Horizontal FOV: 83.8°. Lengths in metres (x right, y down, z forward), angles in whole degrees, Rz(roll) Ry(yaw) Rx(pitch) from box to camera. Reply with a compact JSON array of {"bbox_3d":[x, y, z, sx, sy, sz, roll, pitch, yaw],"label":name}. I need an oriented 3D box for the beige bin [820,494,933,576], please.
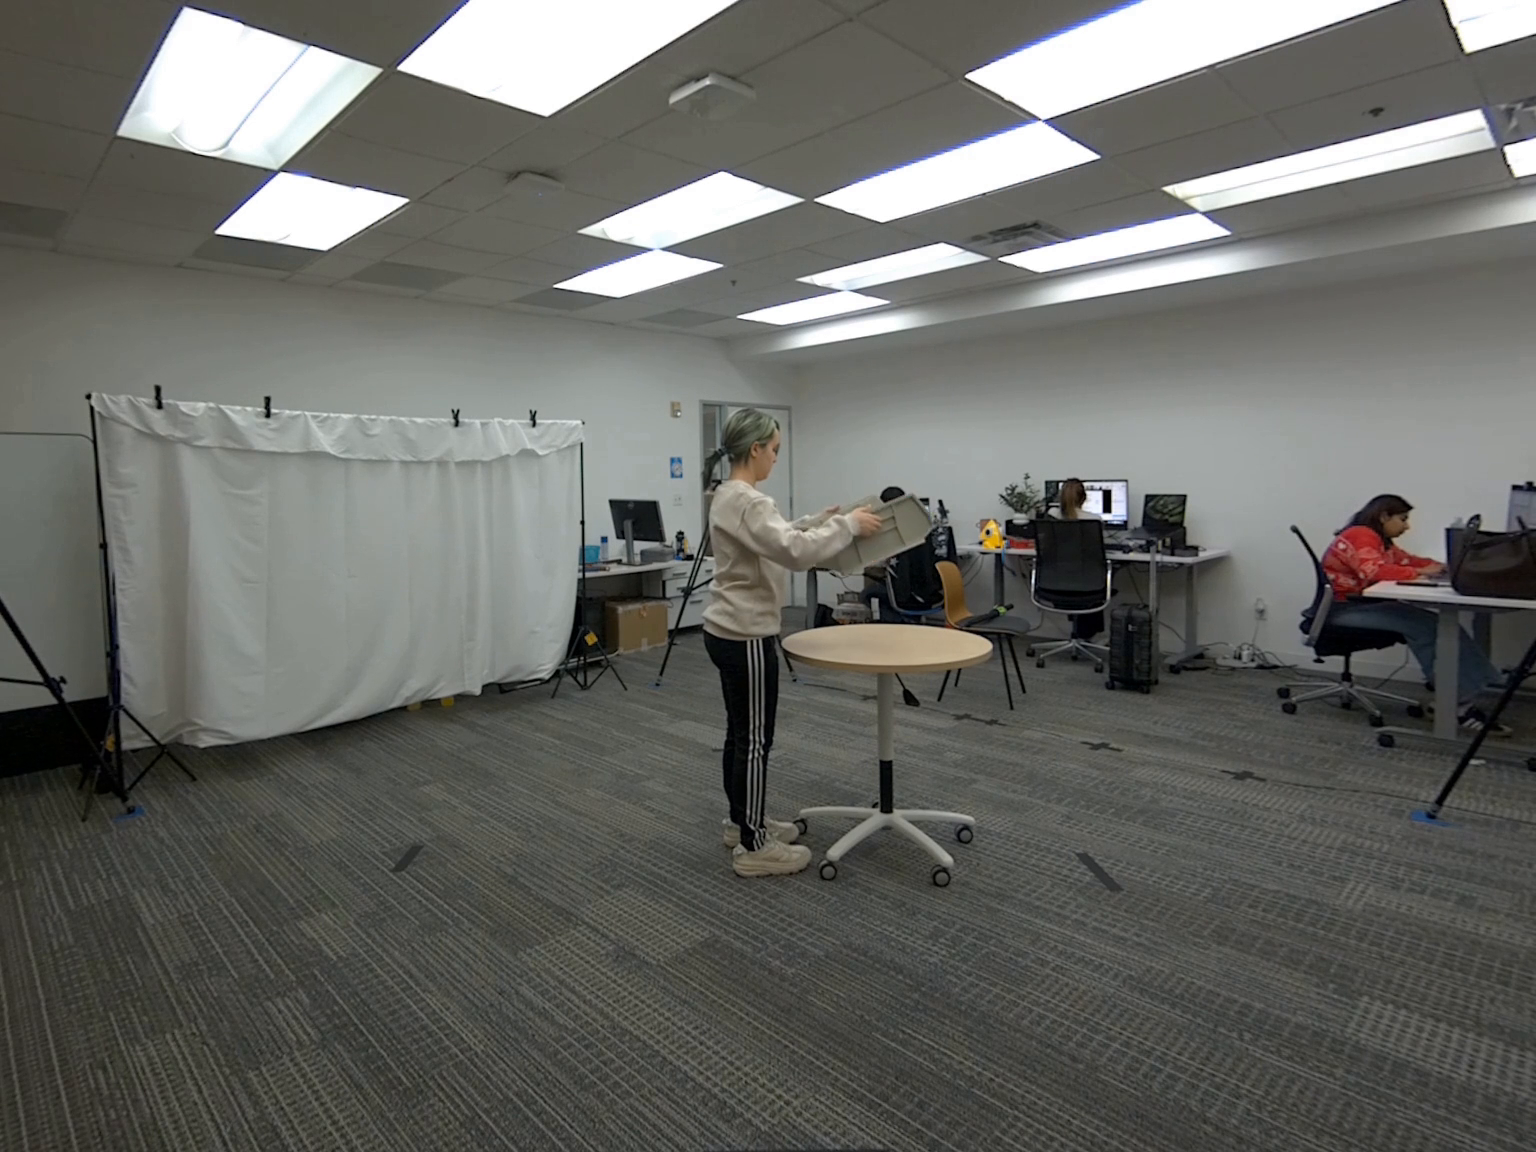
[{"bbox_3d":[0.349,-0.160,3.146,0.375,0.187,0.428,-22,9,-8],"label":"beige bin"}]
